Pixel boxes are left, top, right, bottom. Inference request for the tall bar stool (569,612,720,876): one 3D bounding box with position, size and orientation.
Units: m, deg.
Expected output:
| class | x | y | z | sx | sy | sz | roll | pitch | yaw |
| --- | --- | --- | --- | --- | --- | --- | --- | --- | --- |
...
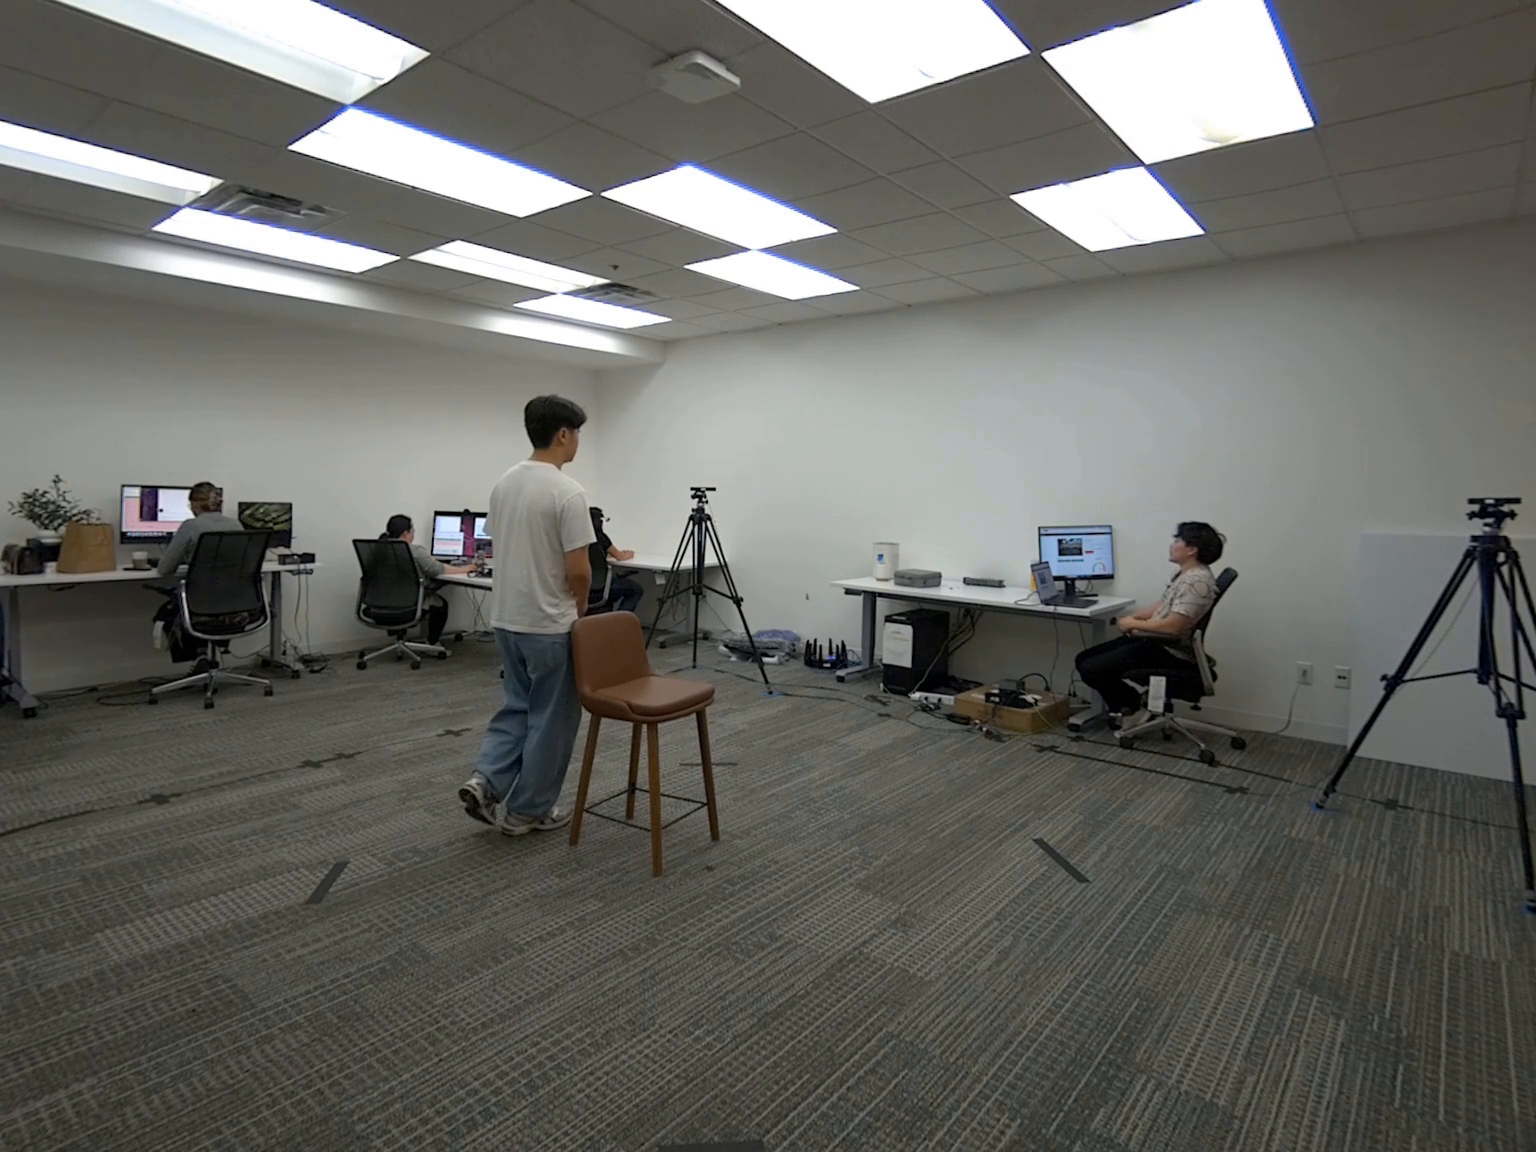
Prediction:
| class | x | y | z | sx | sy | sz | roll | pitch | yaw |
| --- | --- | --- | --- | --- | --- | --- | --- | --- | --- |
| tall bar stool | -0.493 | 0.607 | 3.306 | 0.481 | 0.888 | 0.444 | 0 | 2 | 32 |
